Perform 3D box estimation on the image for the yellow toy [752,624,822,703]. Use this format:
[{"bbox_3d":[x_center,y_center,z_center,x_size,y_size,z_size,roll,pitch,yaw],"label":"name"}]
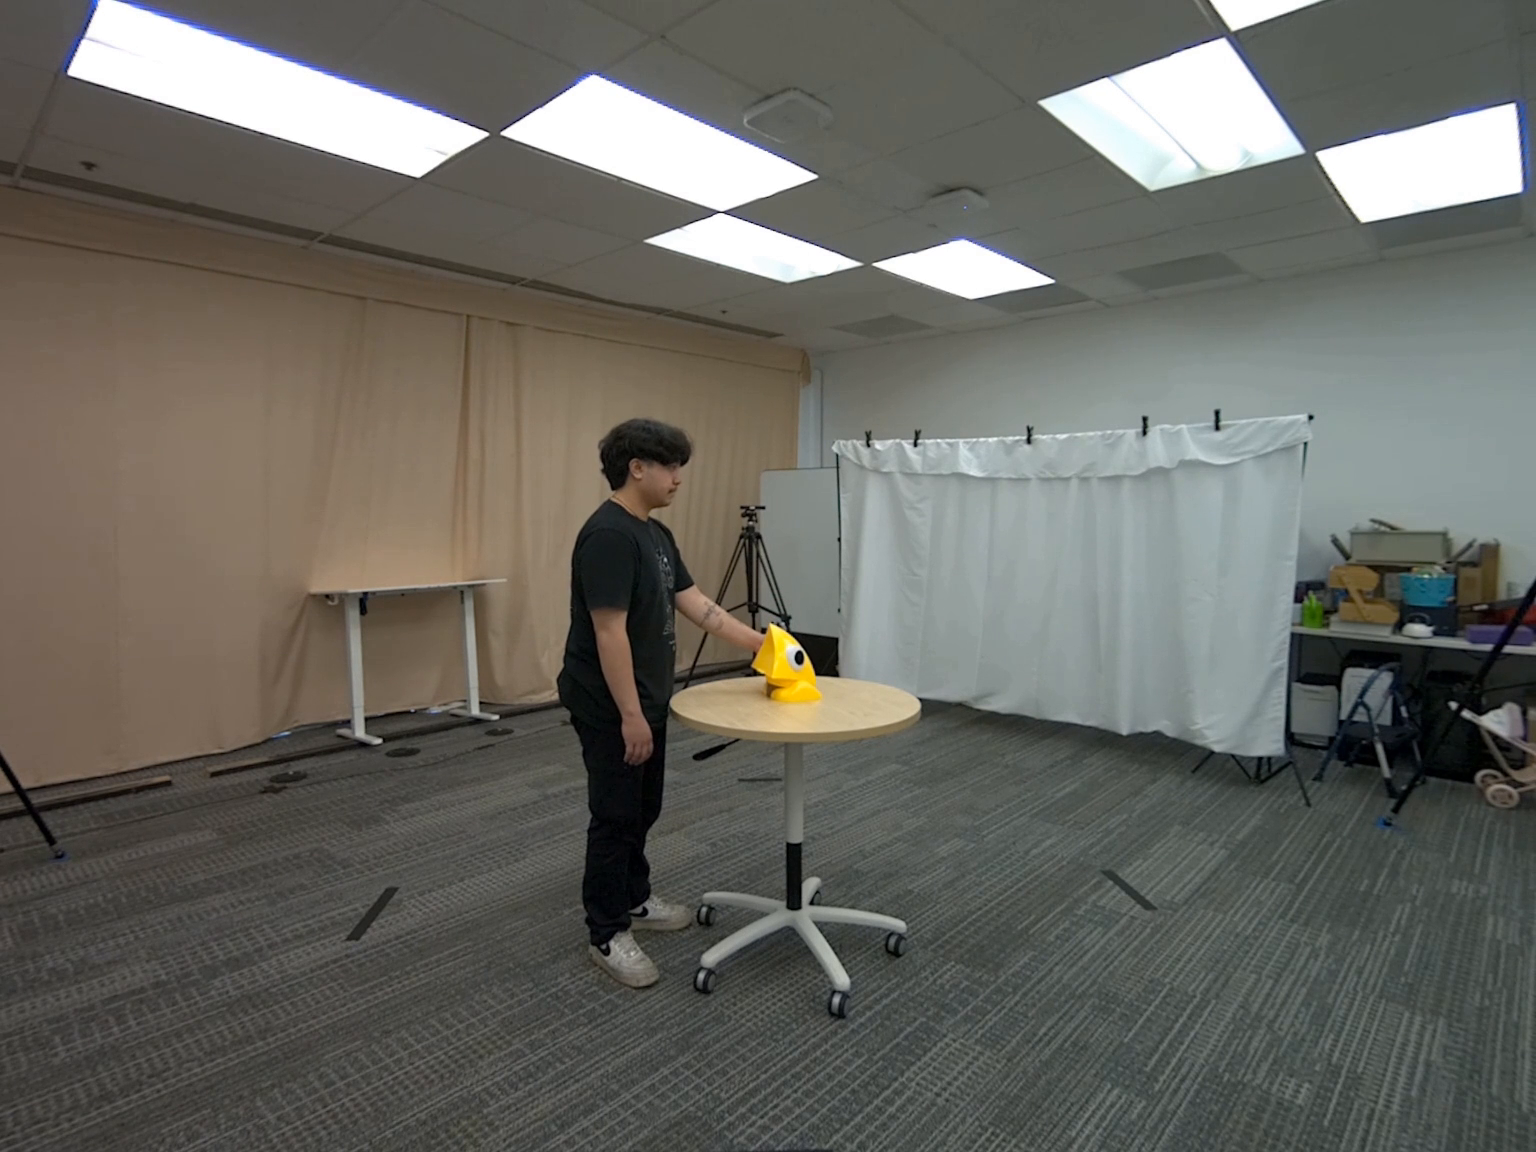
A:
[{"bbox_3d":[0.069,0.267,2.652,0.190,0.230,0.209,-1,3,-18],"label":"yellow toy"}]
